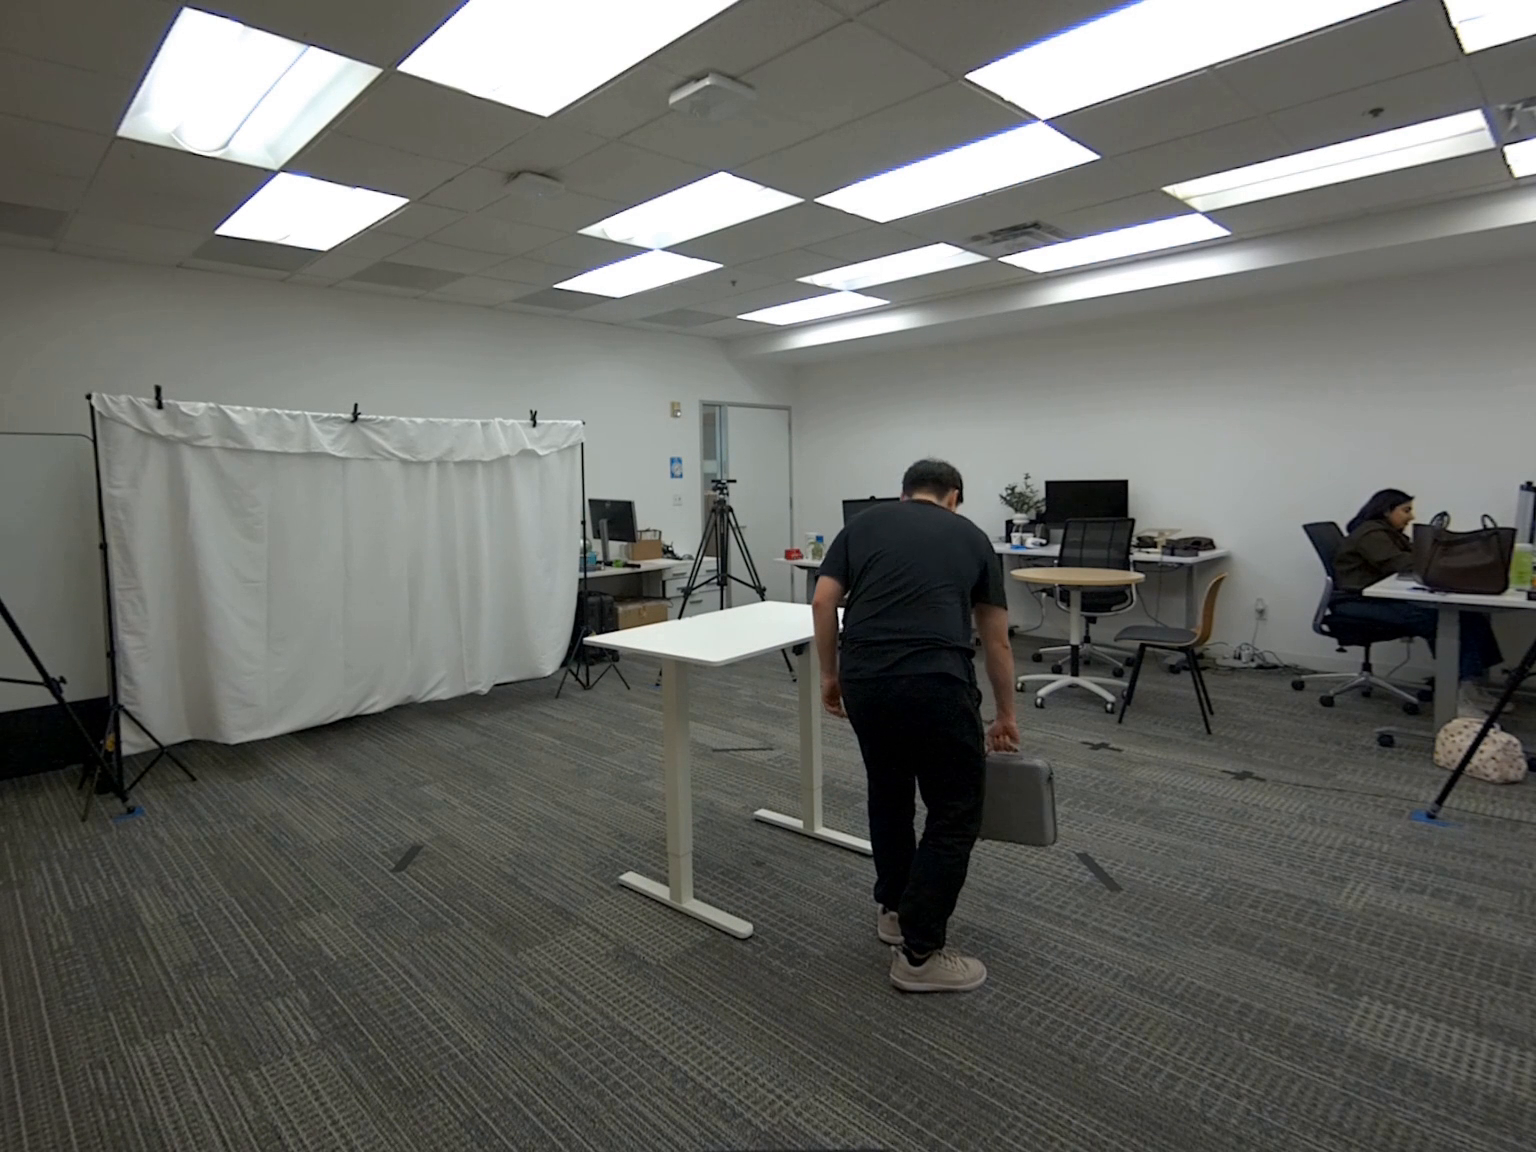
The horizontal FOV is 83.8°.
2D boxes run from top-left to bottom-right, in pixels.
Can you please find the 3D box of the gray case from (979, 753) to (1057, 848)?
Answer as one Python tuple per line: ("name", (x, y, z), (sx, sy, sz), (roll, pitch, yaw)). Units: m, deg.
("gray case", (0.736, 0.673, 2.600), (0.263, 0.262, 0.101), (-7, -5, 38))
